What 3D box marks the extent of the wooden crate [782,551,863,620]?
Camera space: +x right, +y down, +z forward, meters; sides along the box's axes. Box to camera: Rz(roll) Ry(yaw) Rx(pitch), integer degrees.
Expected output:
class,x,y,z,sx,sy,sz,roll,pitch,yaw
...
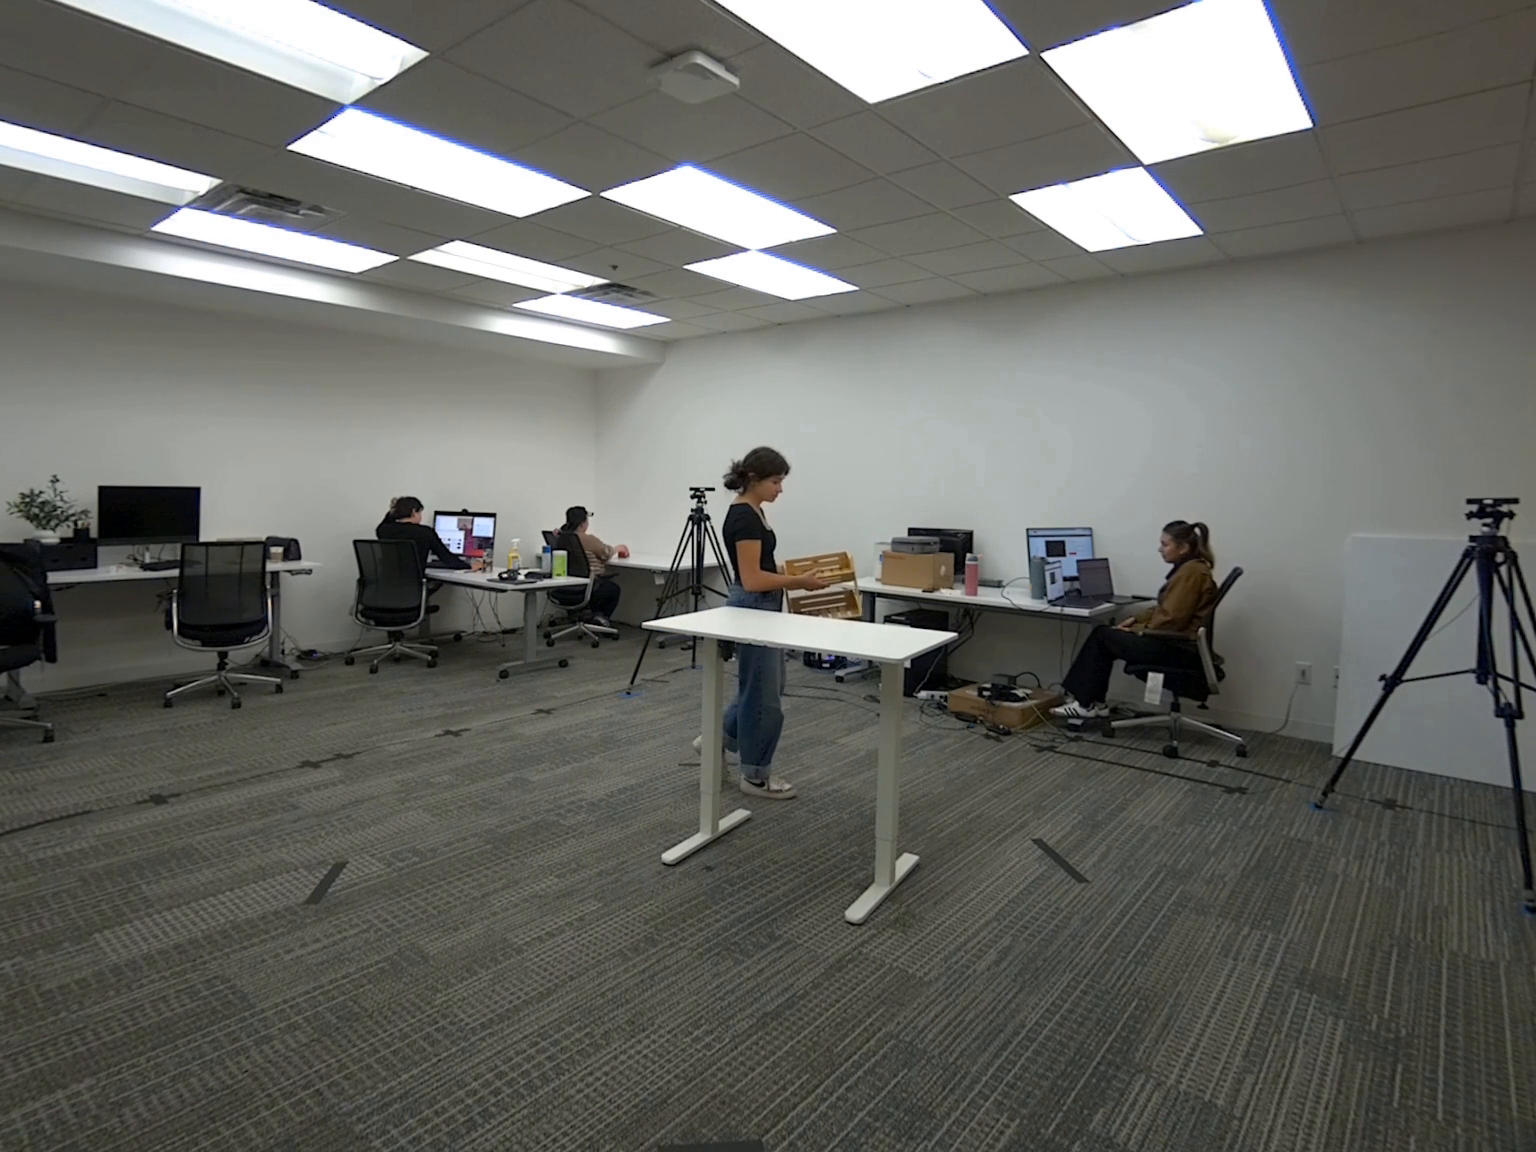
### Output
class,x,y,z,sx,sy,sz,roll,pitch,yaw
wooden crate,0.225,0.059,3.789,0.325,0.269,0.306,-8,14,1
